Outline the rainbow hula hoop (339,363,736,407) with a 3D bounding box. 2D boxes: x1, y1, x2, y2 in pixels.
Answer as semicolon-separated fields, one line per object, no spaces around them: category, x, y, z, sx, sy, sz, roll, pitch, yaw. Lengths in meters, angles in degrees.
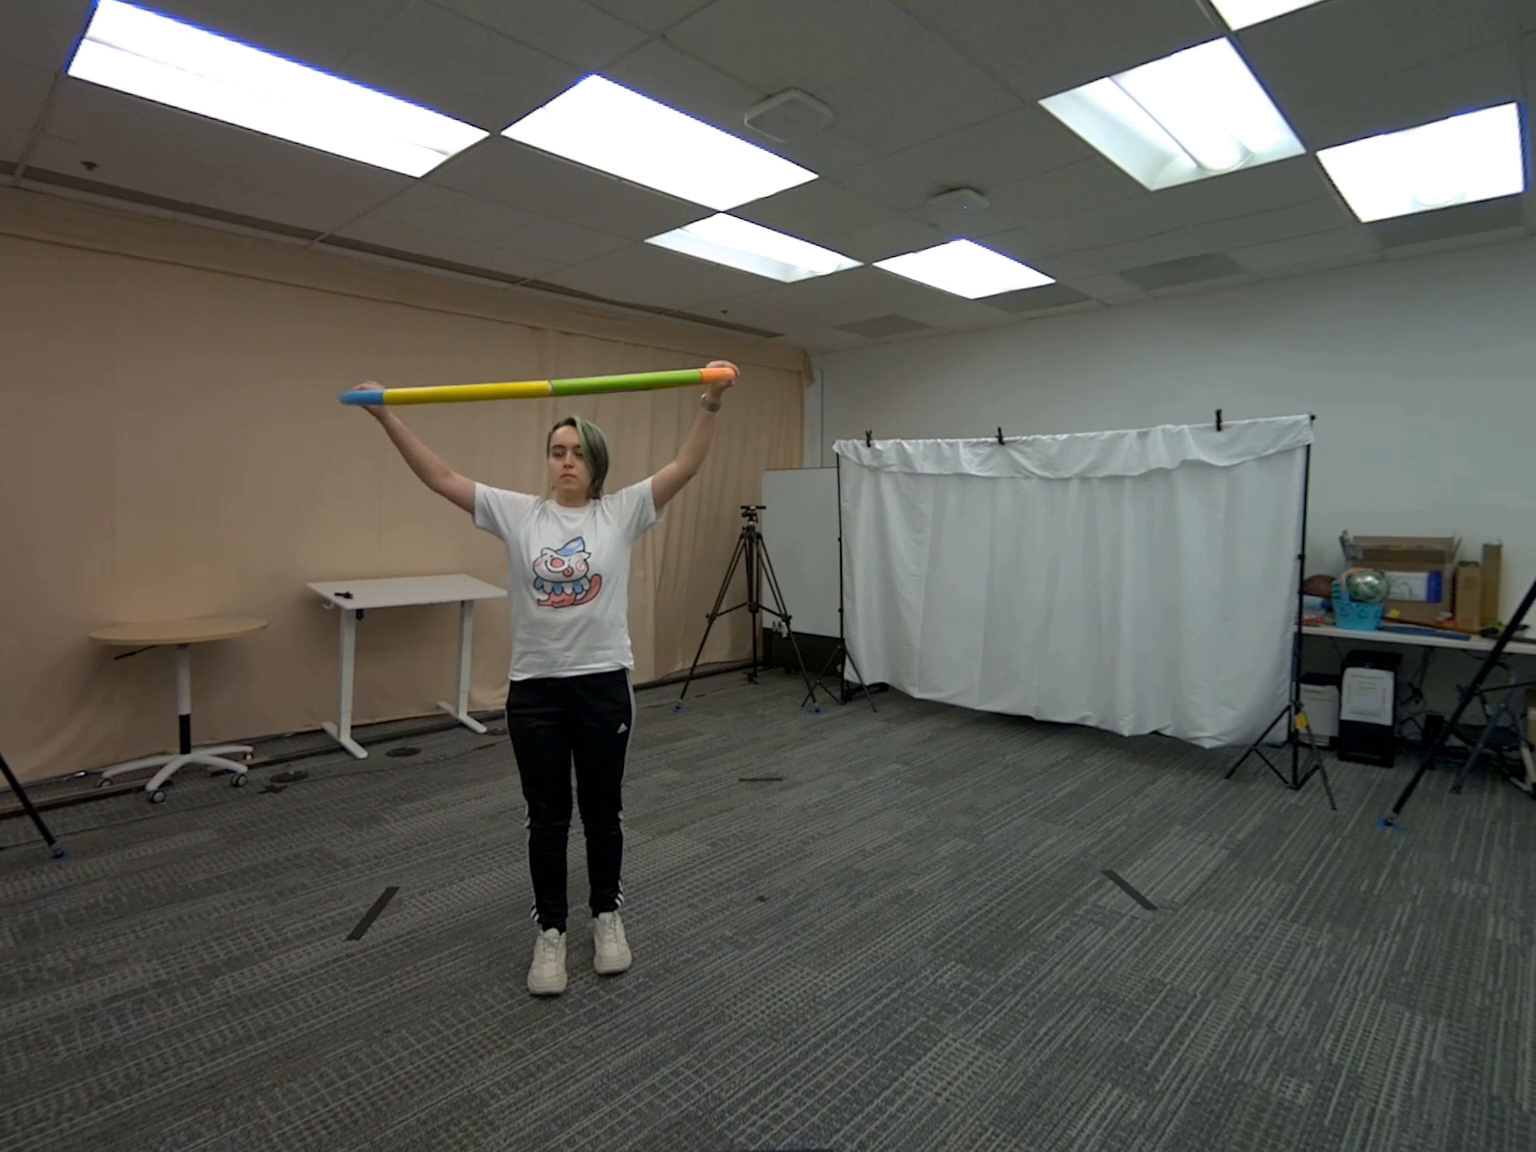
rainbow hula hoop;-0.576;-0.487;2.203;0.985;0.051;0.994;-4;14;-1
